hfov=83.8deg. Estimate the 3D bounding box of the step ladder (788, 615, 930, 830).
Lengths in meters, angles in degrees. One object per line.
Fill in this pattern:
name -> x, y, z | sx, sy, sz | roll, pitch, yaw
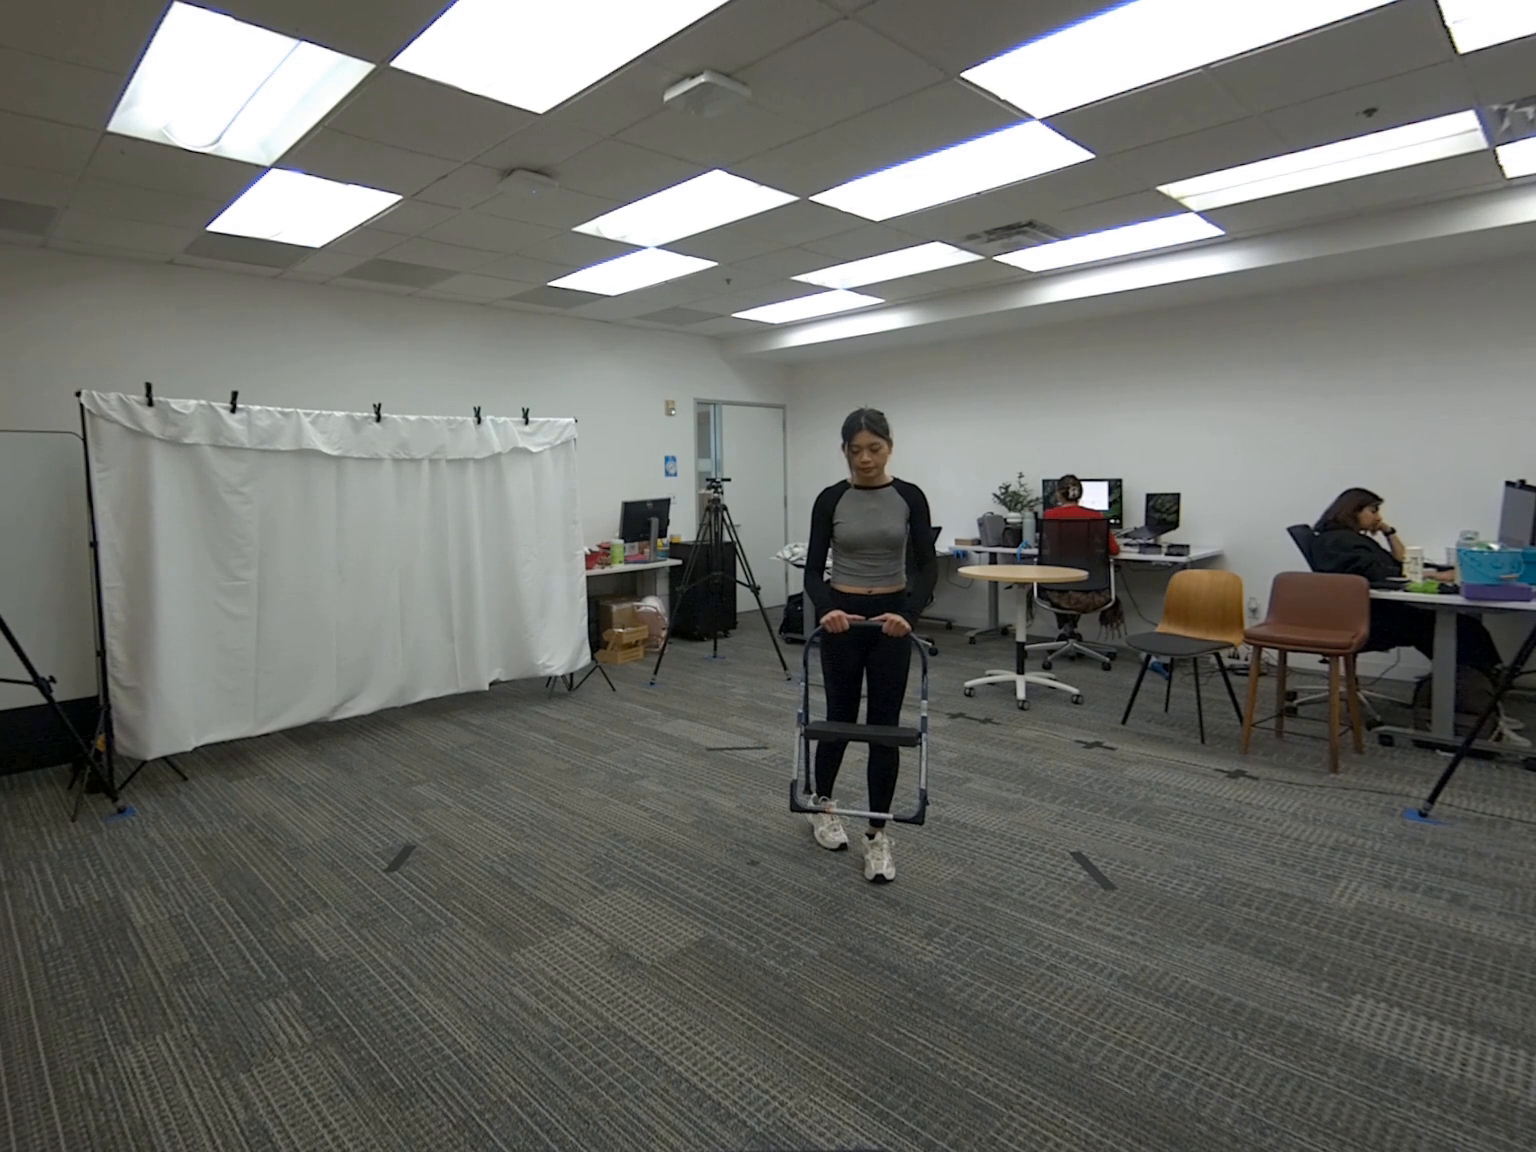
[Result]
step ladder -> 0.314, 0.455, 2.807 | 0.436, 0.609, 0.343 | 0, -5, 13
